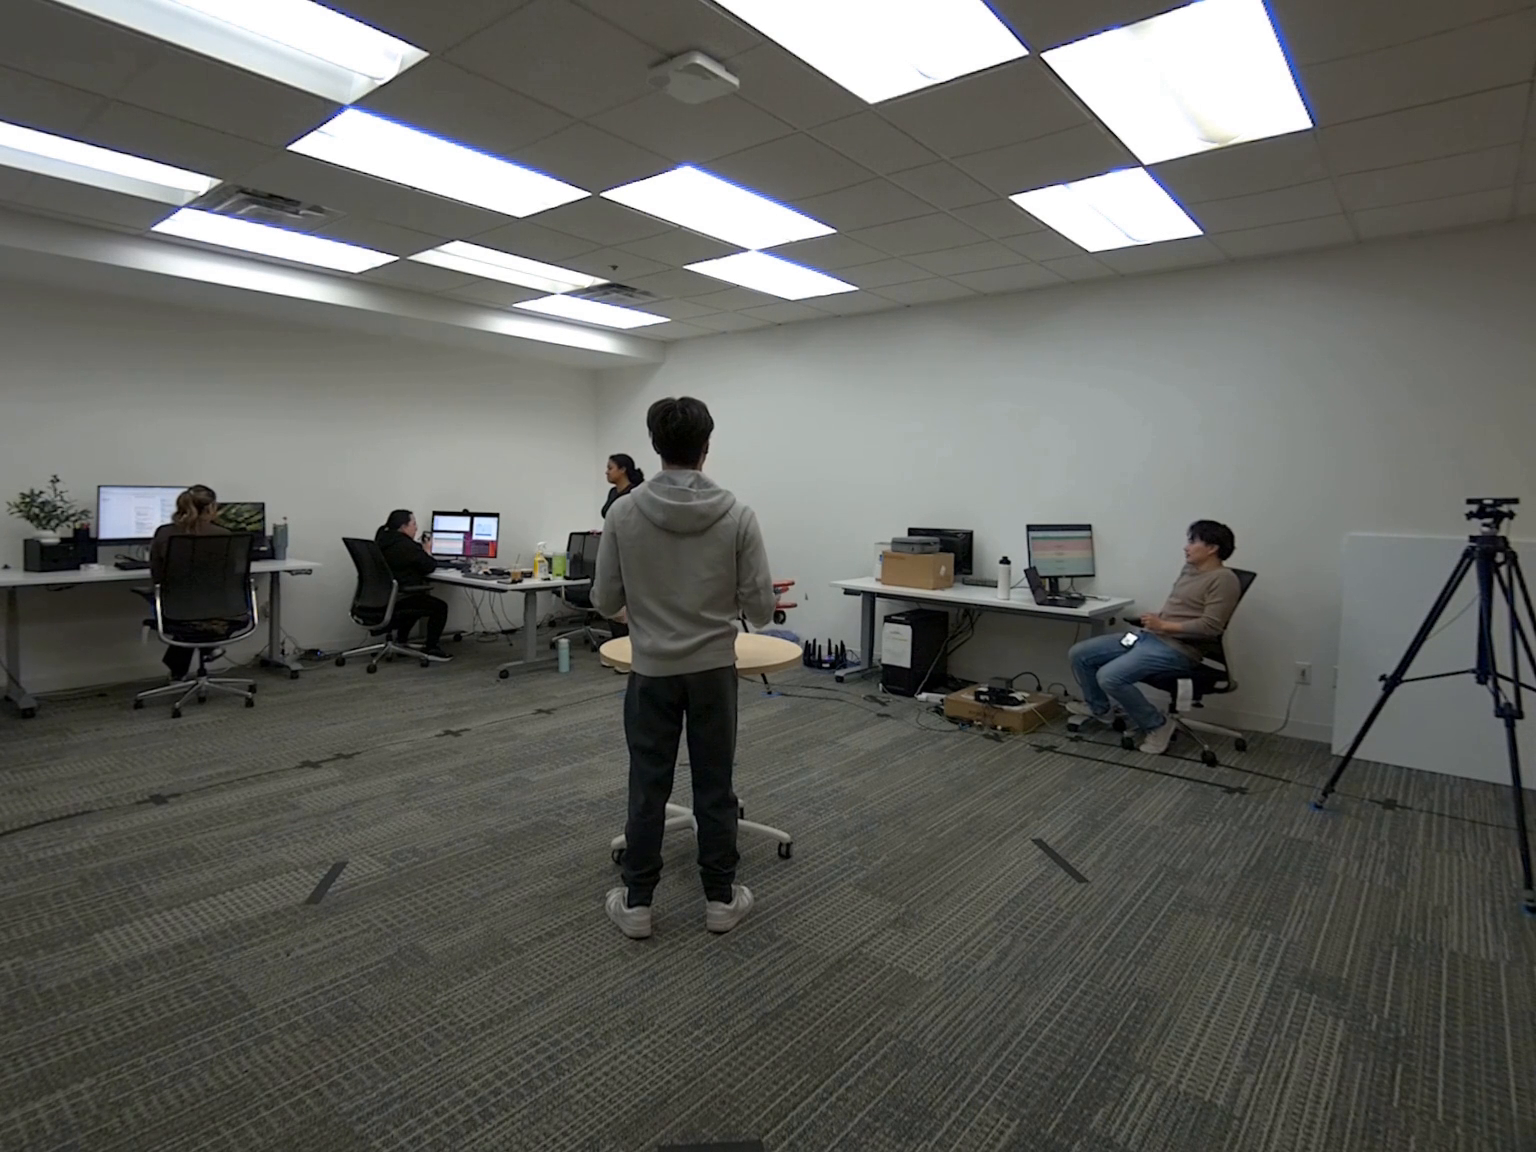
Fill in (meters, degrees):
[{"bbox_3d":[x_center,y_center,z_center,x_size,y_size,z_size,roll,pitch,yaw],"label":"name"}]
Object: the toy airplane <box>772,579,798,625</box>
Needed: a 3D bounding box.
[{"bbox_3d":[-0.040,0.067,3.000,0.253,0.158,0.255,1,-9,5],"label":"toy airplane"}]
